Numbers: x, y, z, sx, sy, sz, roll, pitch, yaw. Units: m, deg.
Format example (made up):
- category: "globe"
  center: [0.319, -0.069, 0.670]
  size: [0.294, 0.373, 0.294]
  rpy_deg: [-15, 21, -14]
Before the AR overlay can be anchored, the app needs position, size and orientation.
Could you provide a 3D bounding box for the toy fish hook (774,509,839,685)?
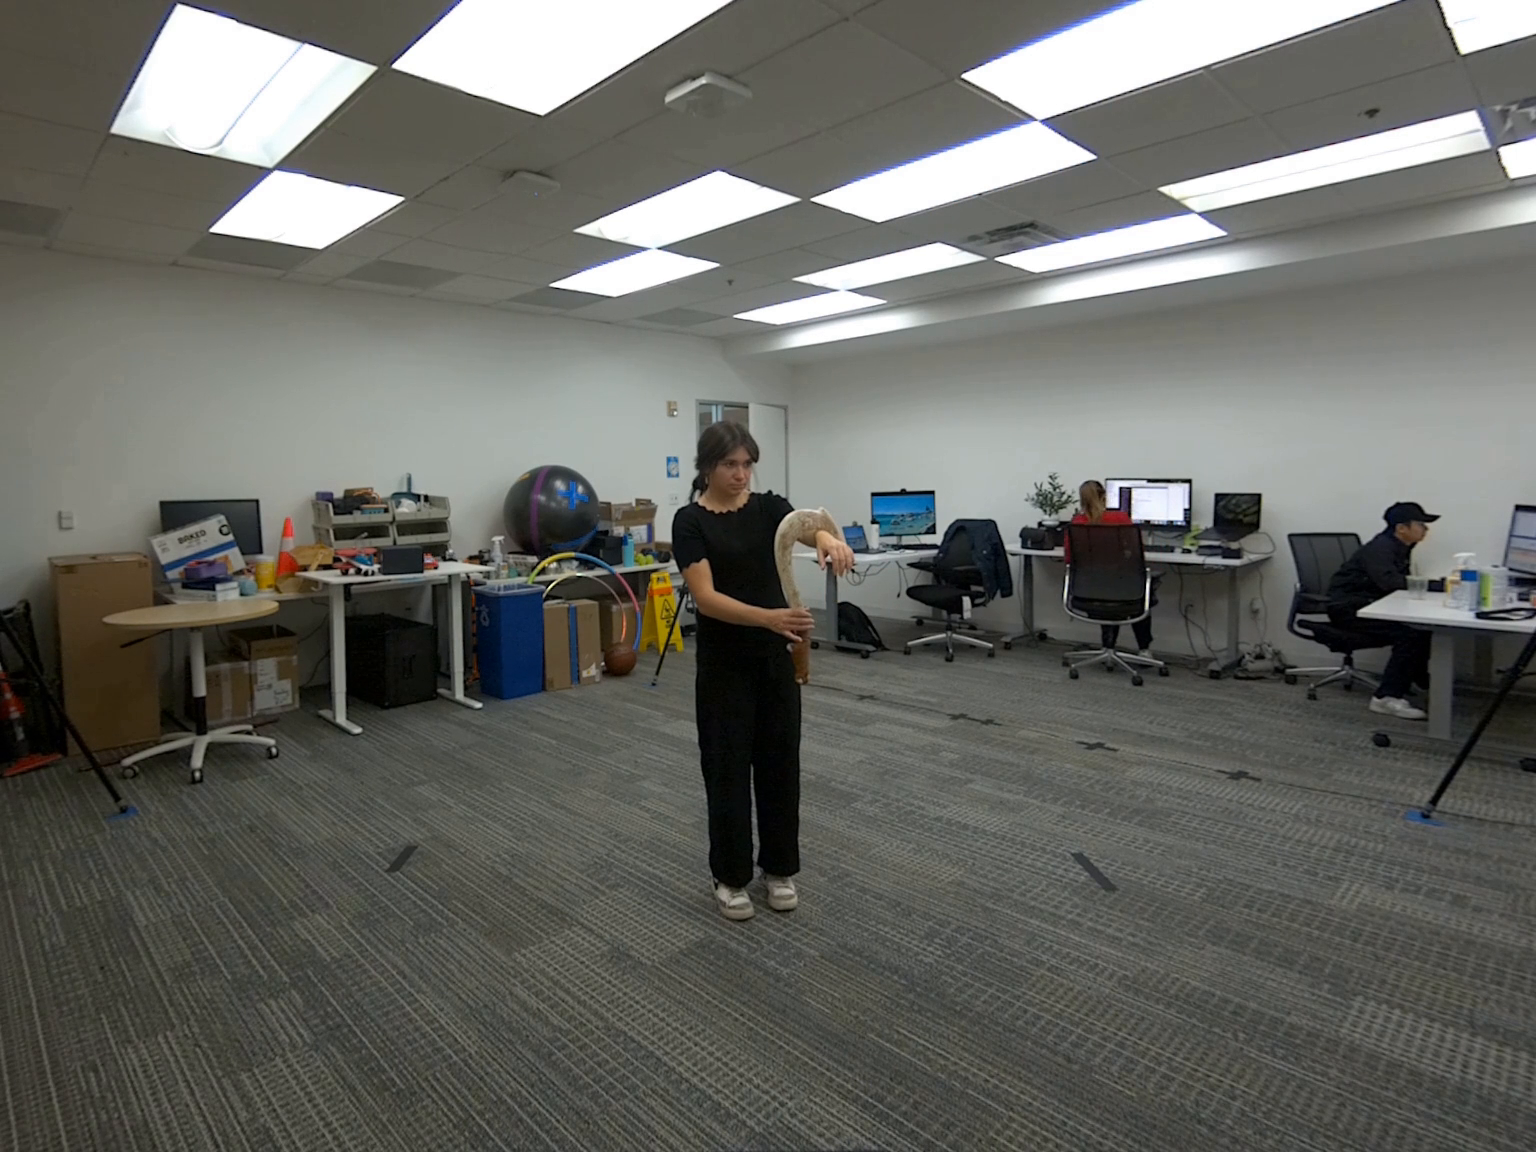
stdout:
- category: "toy fish hook"
  center: [0.143, 0.063, 2.474]
  size: [0.222, 0.503, 0.049]
  rpy_deg: [-6, 6, -15]
